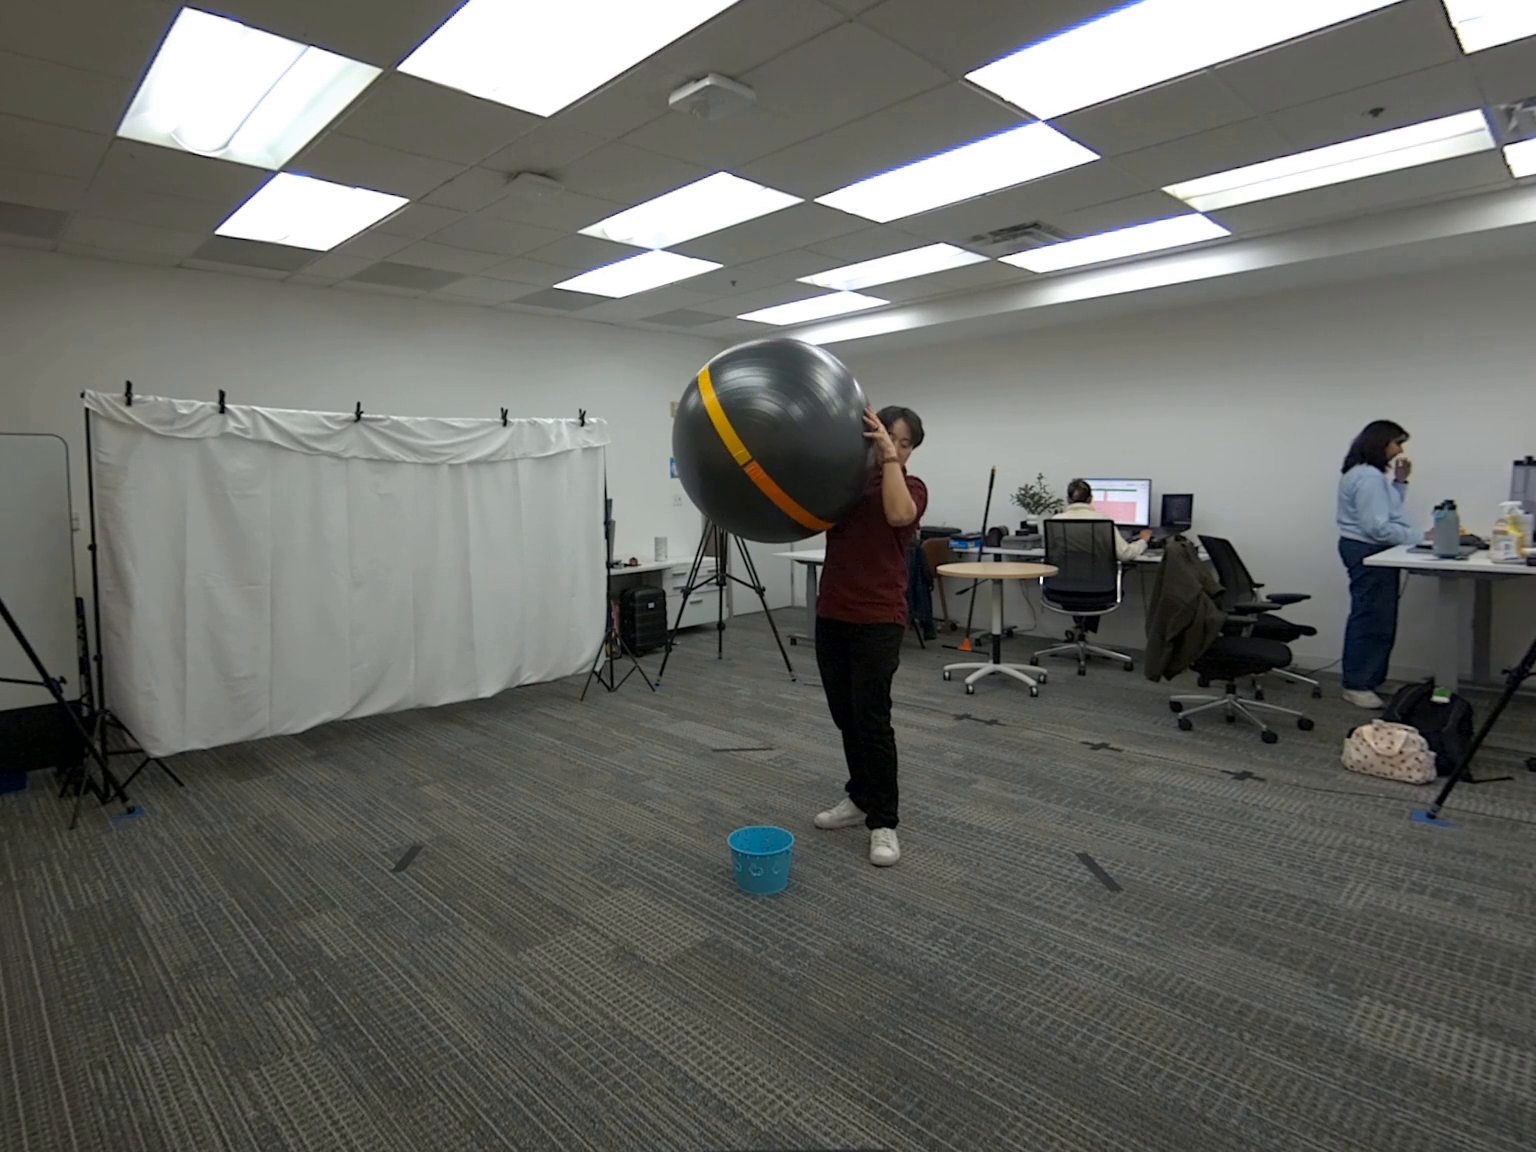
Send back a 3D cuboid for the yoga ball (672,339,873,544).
[{"bbox_3d":[0.015,-0.490,3.176,0.757,0.755,0.762,-1,5,-2],"label":"yoga ball"}]
